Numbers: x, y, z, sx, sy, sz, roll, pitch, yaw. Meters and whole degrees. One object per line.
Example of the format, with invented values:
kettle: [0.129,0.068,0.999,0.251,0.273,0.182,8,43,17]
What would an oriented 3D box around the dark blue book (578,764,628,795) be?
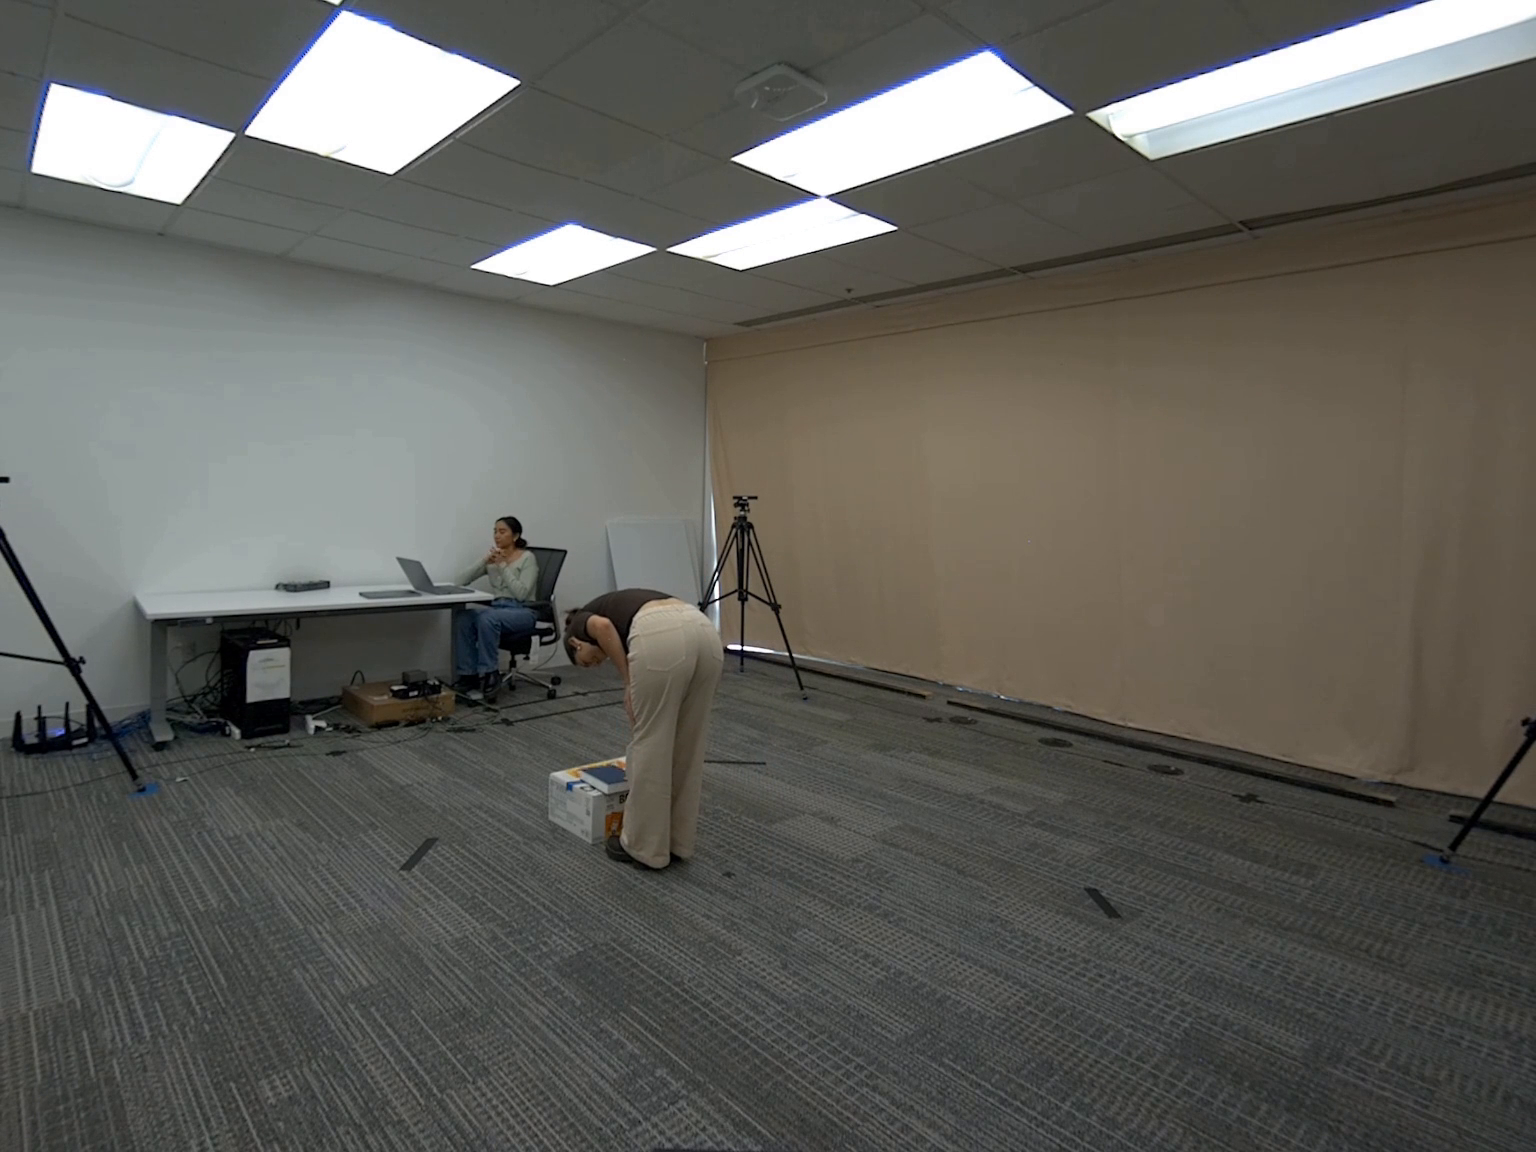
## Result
dark blue book: [-0.670,0.841,3.479,0.159,0.045,0.251,0,3,-37]
